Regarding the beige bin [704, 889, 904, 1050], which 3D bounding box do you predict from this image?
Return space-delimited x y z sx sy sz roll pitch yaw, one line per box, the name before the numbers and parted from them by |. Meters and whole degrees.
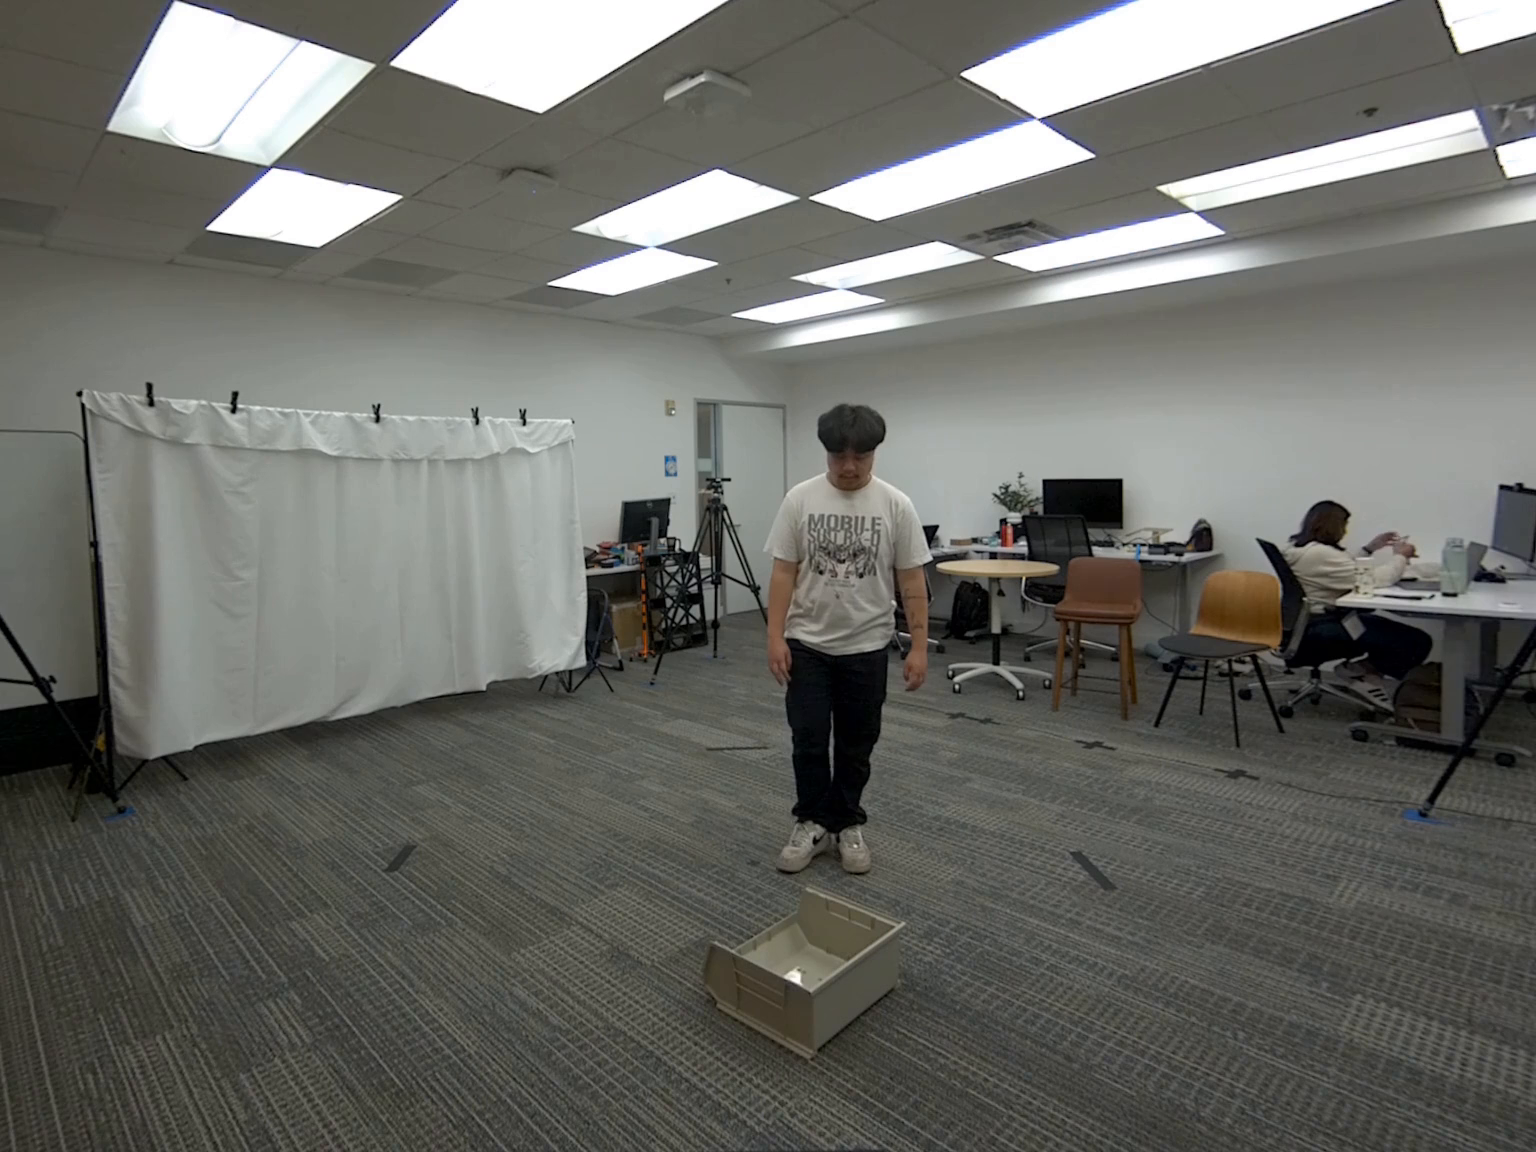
beige bin | 0.106 1.047 2.312 0.389 0.188 0.411 5 8 41
